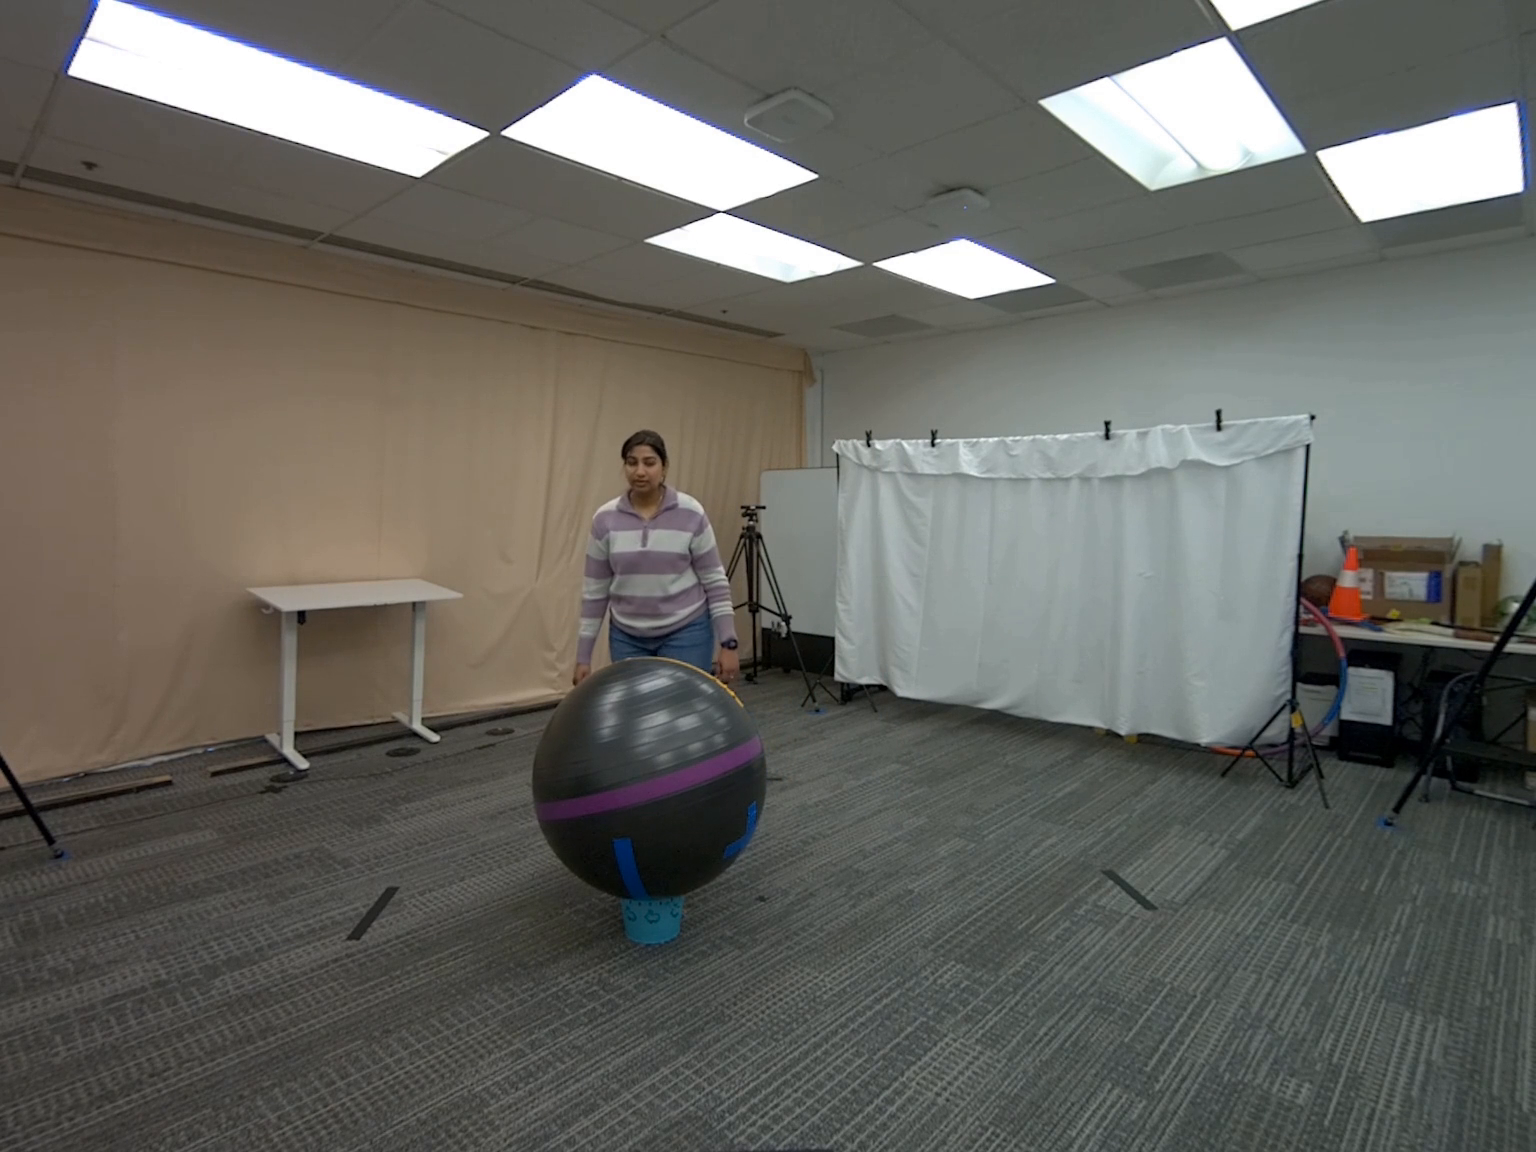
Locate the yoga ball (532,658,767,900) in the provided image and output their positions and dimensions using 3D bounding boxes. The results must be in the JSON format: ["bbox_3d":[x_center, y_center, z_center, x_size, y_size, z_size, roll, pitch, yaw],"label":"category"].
[{"bbox_3d":[-0.400,0.661,2.749,0.757,0.756,0.761,0,4,-2],"label":"yoga ball"}]
